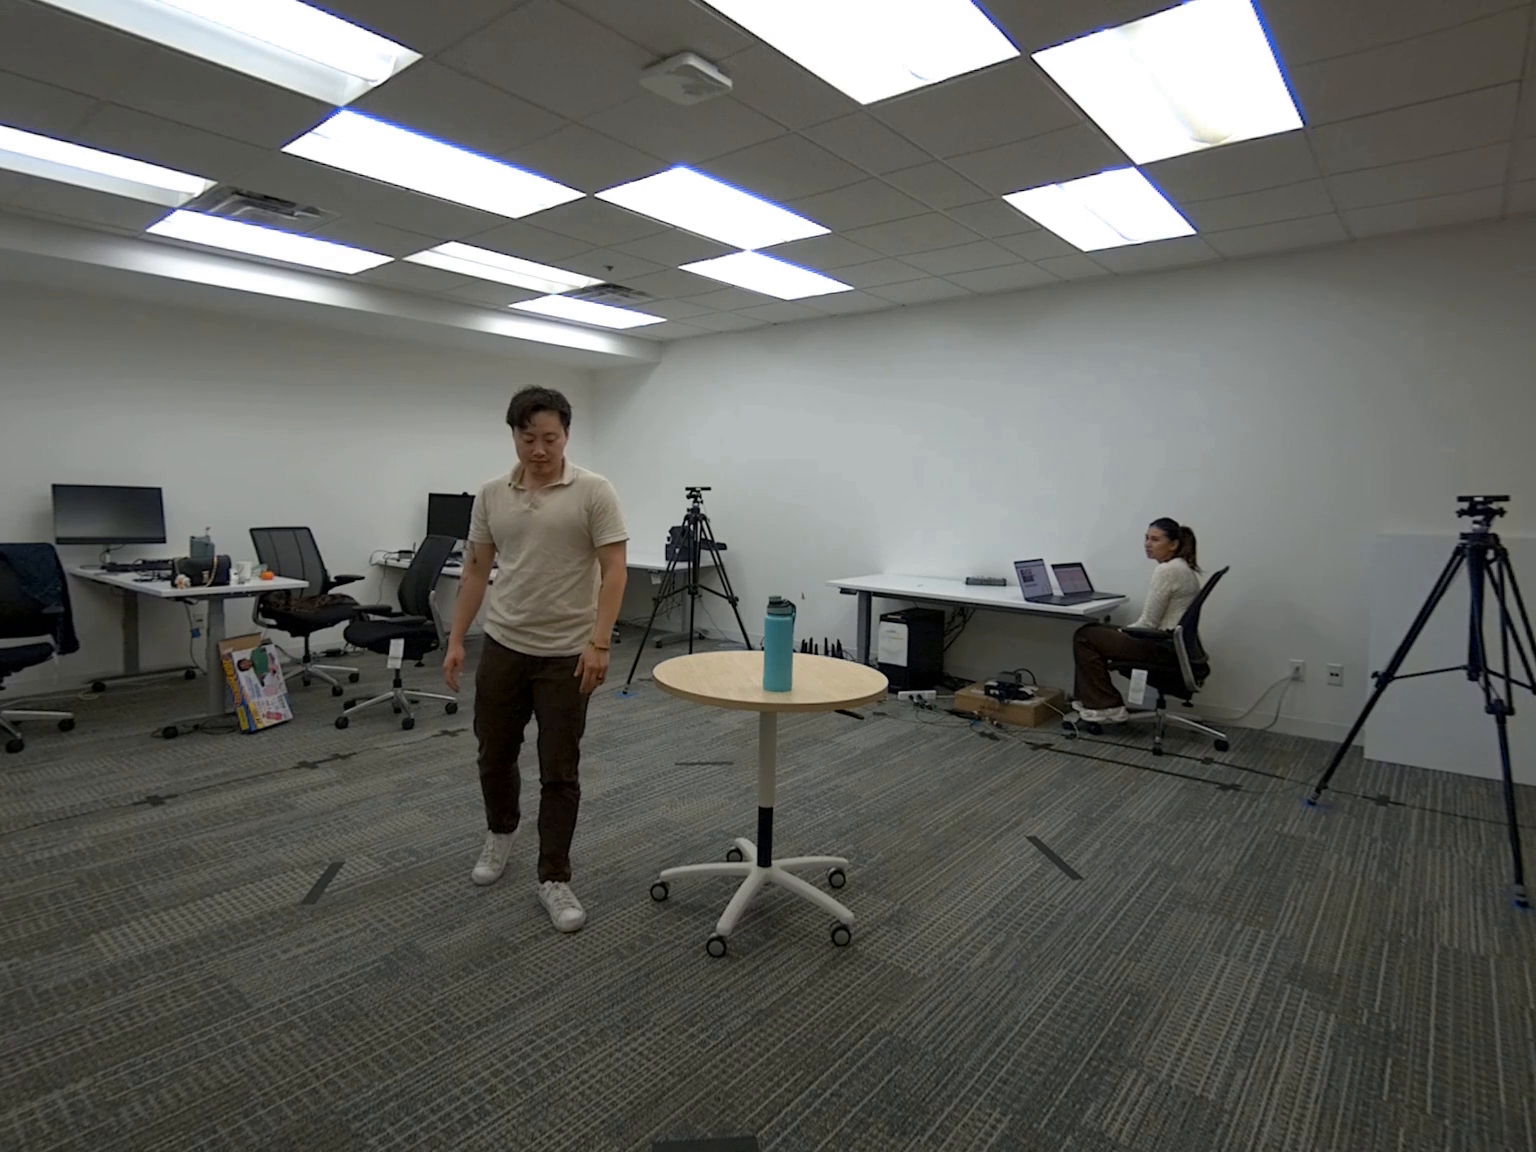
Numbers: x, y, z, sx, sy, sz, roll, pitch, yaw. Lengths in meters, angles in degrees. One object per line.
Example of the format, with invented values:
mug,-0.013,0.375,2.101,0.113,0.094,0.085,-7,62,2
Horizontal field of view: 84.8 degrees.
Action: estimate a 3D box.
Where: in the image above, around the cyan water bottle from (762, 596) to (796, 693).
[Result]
cyan water bottle,0.026,0.201,2.577,0.092,0.283,0.092,2,2,-2
